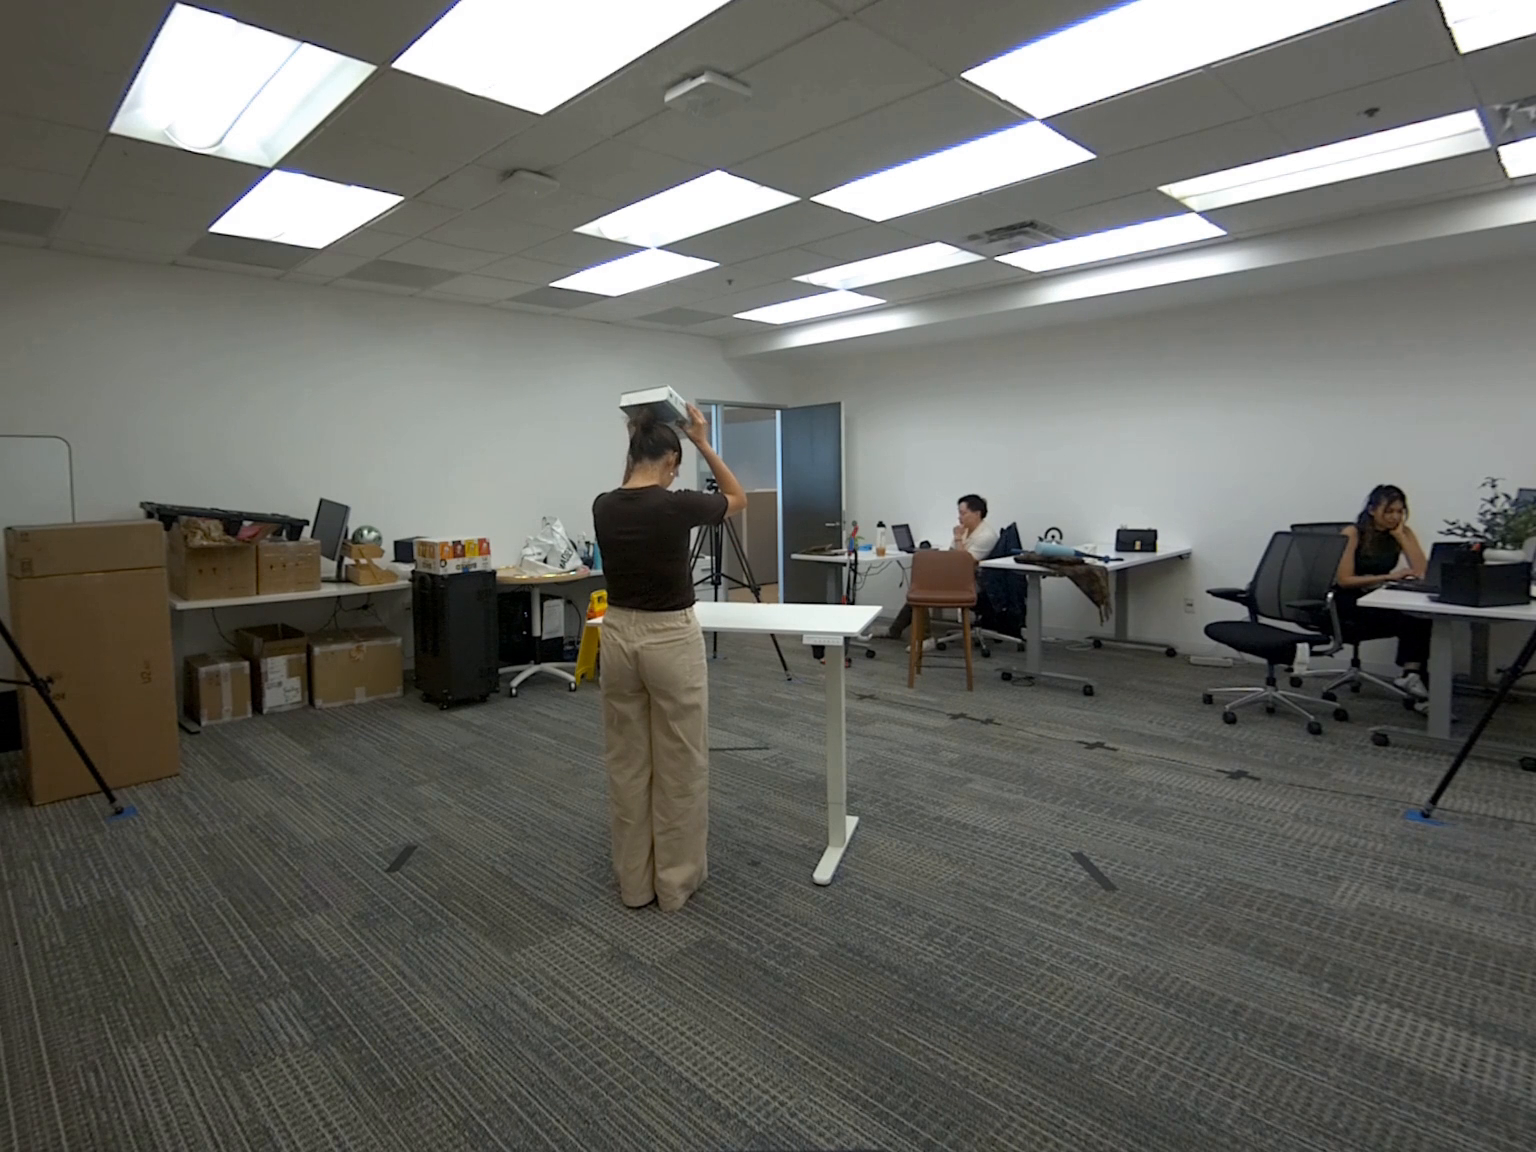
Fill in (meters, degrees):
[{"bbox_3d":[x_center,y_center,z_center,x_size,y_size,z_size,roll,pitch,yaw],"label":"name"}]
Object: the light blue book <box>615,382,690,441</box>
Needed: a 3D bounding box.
[{"bbox_3d":[-0.360,-0.545,2.888,0.195,0.060,0.251,-3,-22,25],"label":"light blue book"}]
